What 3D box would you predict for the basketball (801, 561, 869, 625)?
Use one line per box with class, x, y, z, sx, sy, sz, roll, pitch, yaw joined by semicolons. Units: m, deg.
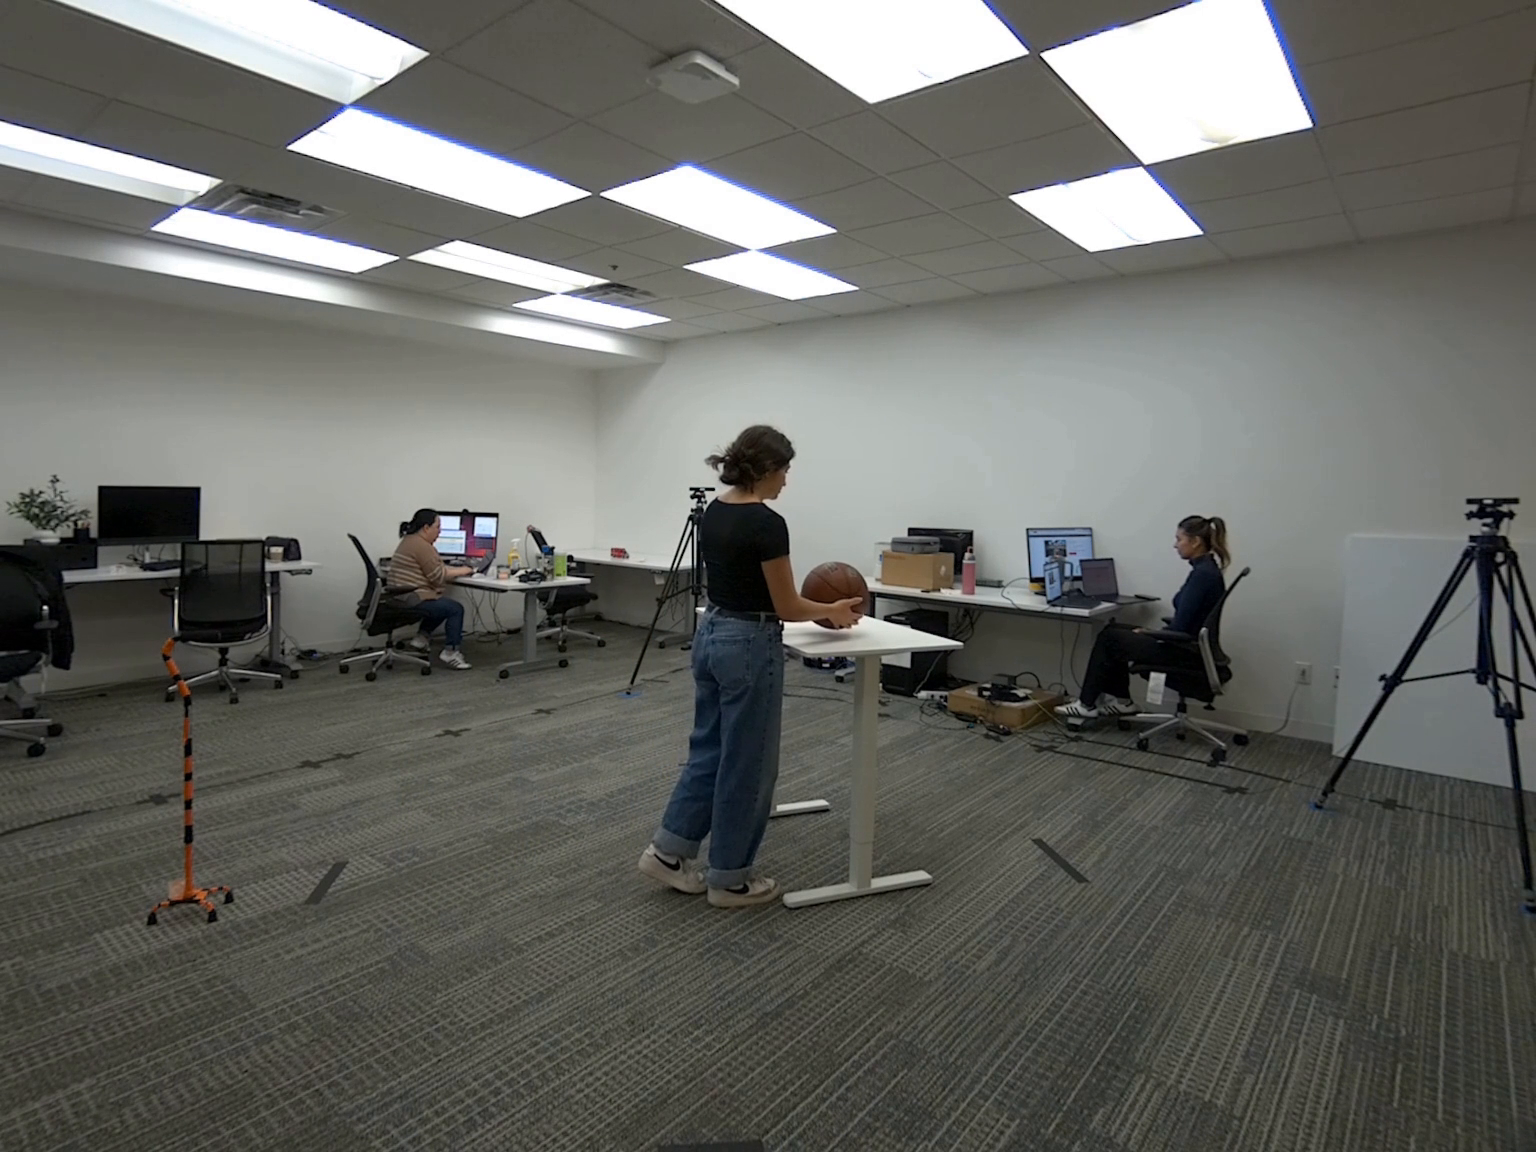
basketball;0.225;0.066;3.002;0.235;0.235;0.237;1;4;-2
